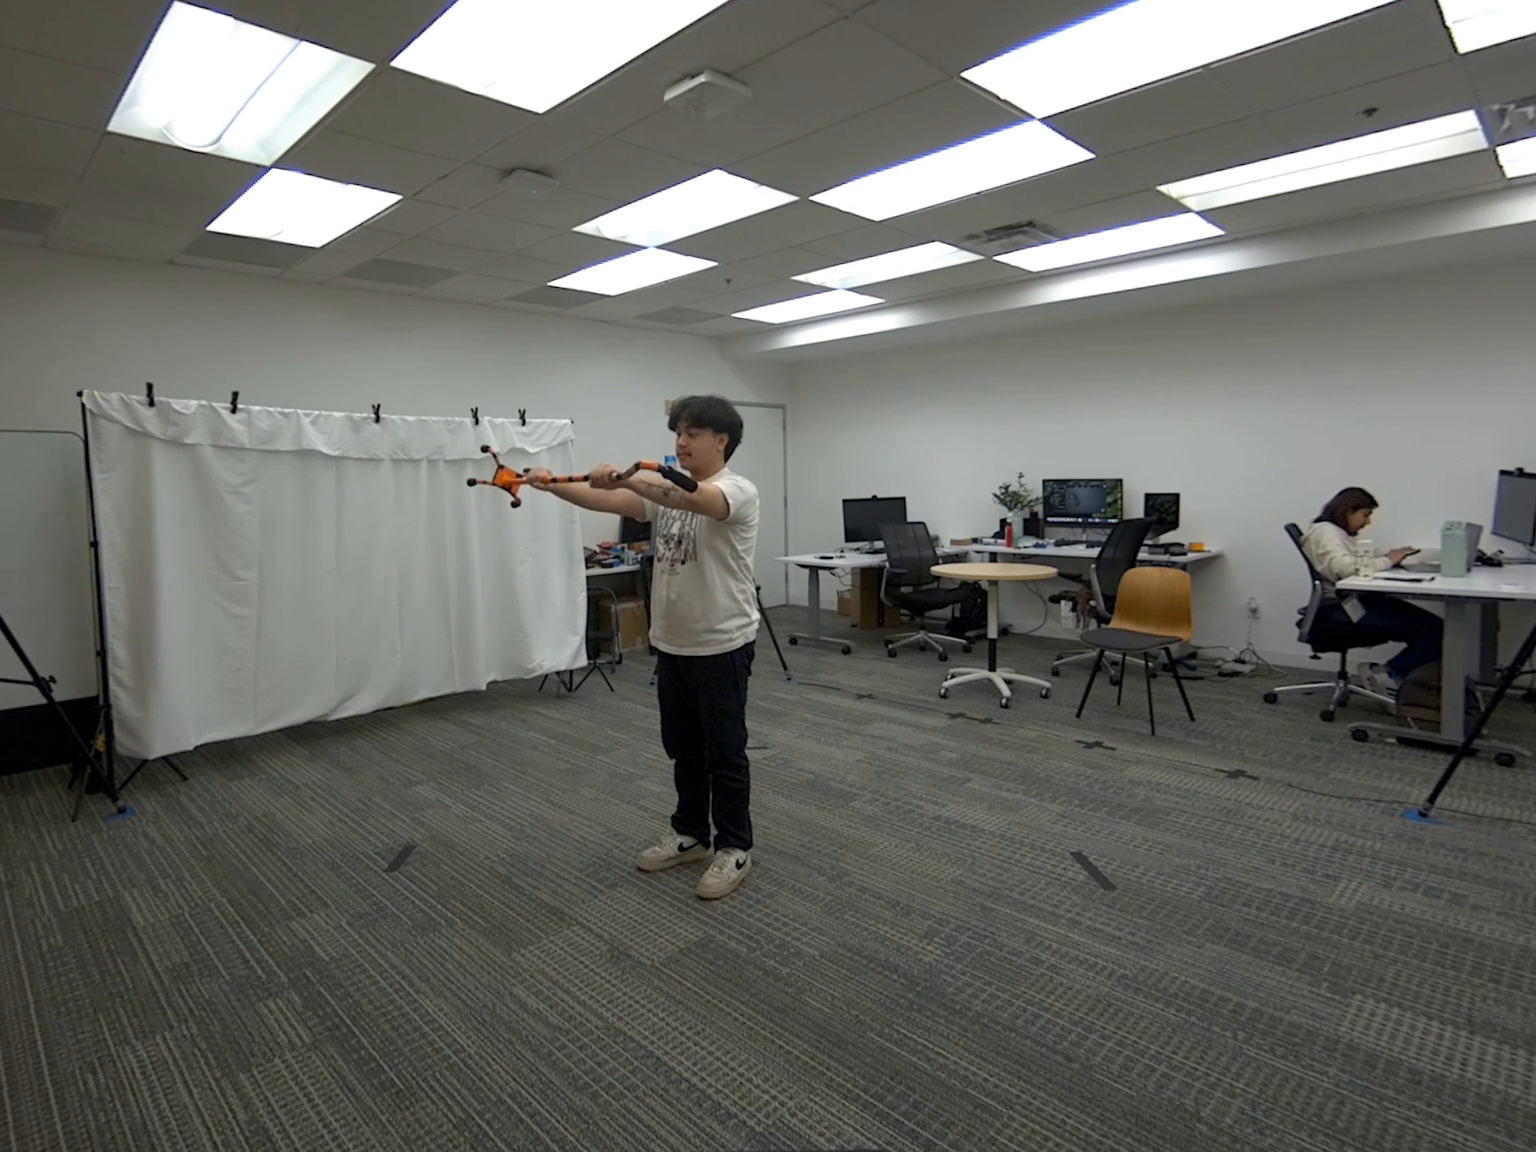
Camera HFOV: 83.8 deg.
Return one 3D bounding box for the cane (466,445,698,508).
[{"bbox_3d":[-0.570,-0.305,2.560,0.936,0.153,0.198,5,-18,43],"label":"cane"}]
